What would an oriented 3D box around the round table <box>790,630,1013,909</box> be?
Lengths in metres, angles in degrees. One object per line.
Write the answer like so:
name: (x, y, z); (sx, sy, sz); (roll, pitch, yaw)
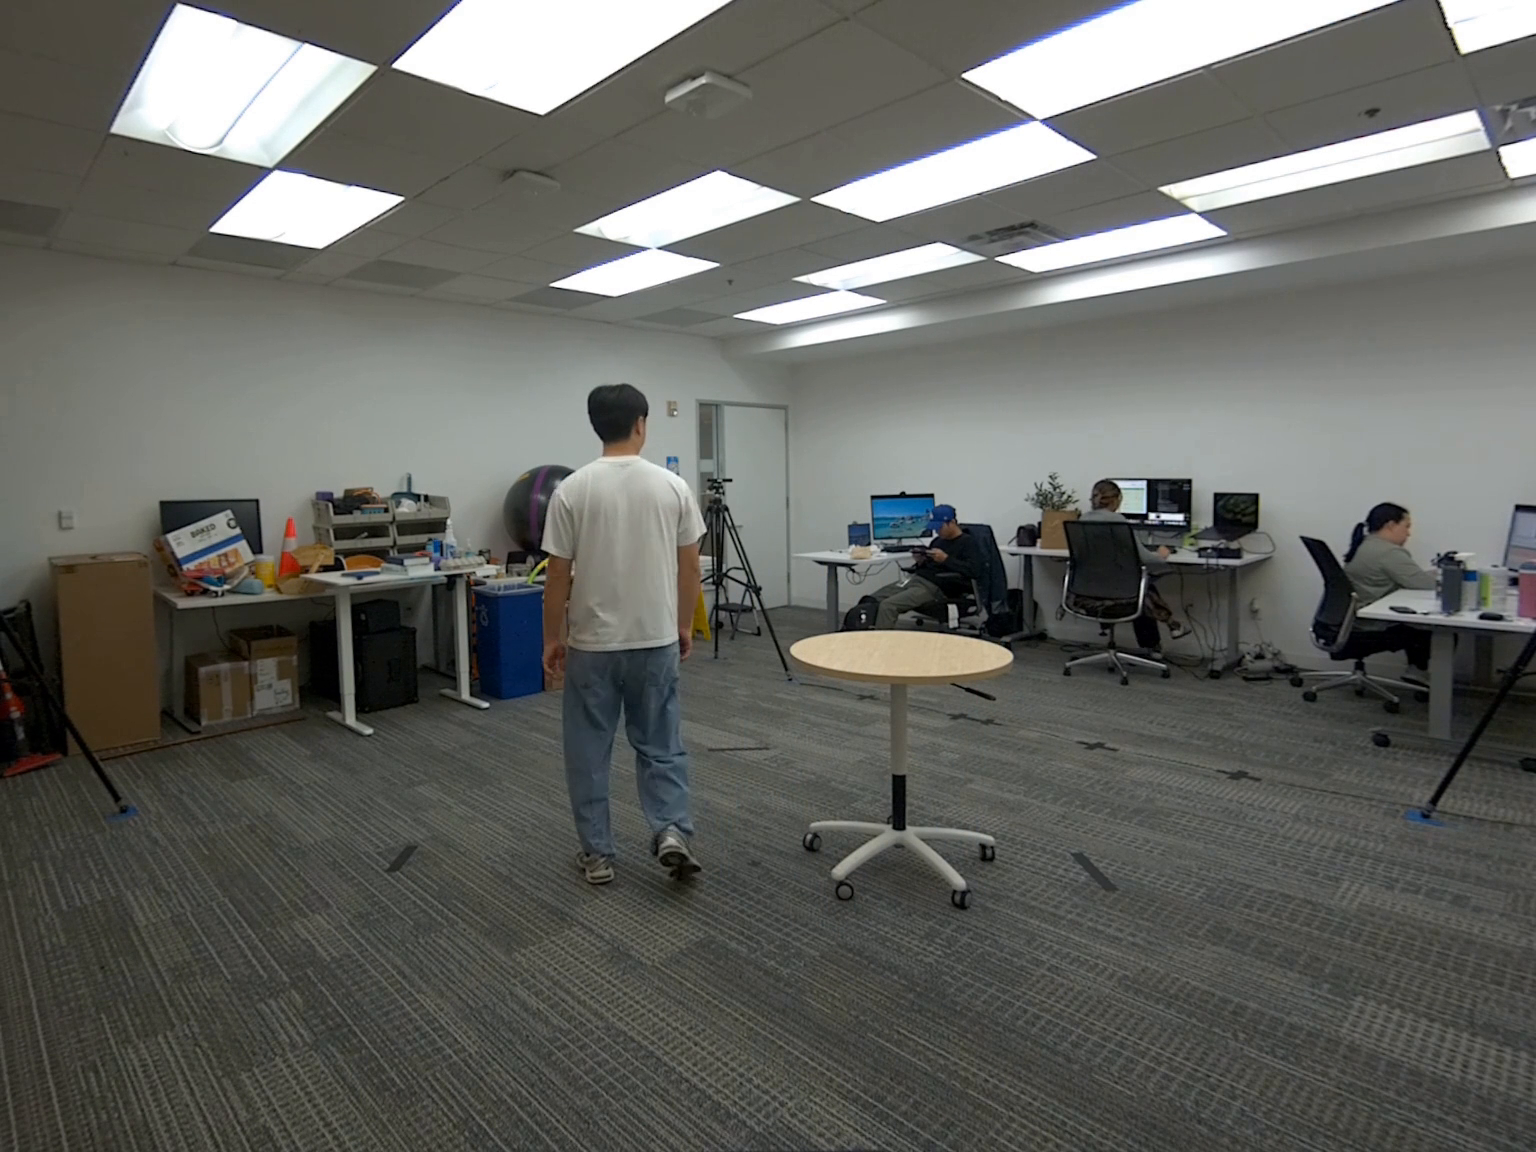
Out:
round table: (0.466, 0.649, 3.024); (0.784, 0.783, 0.789); (-1, 5, -2)
